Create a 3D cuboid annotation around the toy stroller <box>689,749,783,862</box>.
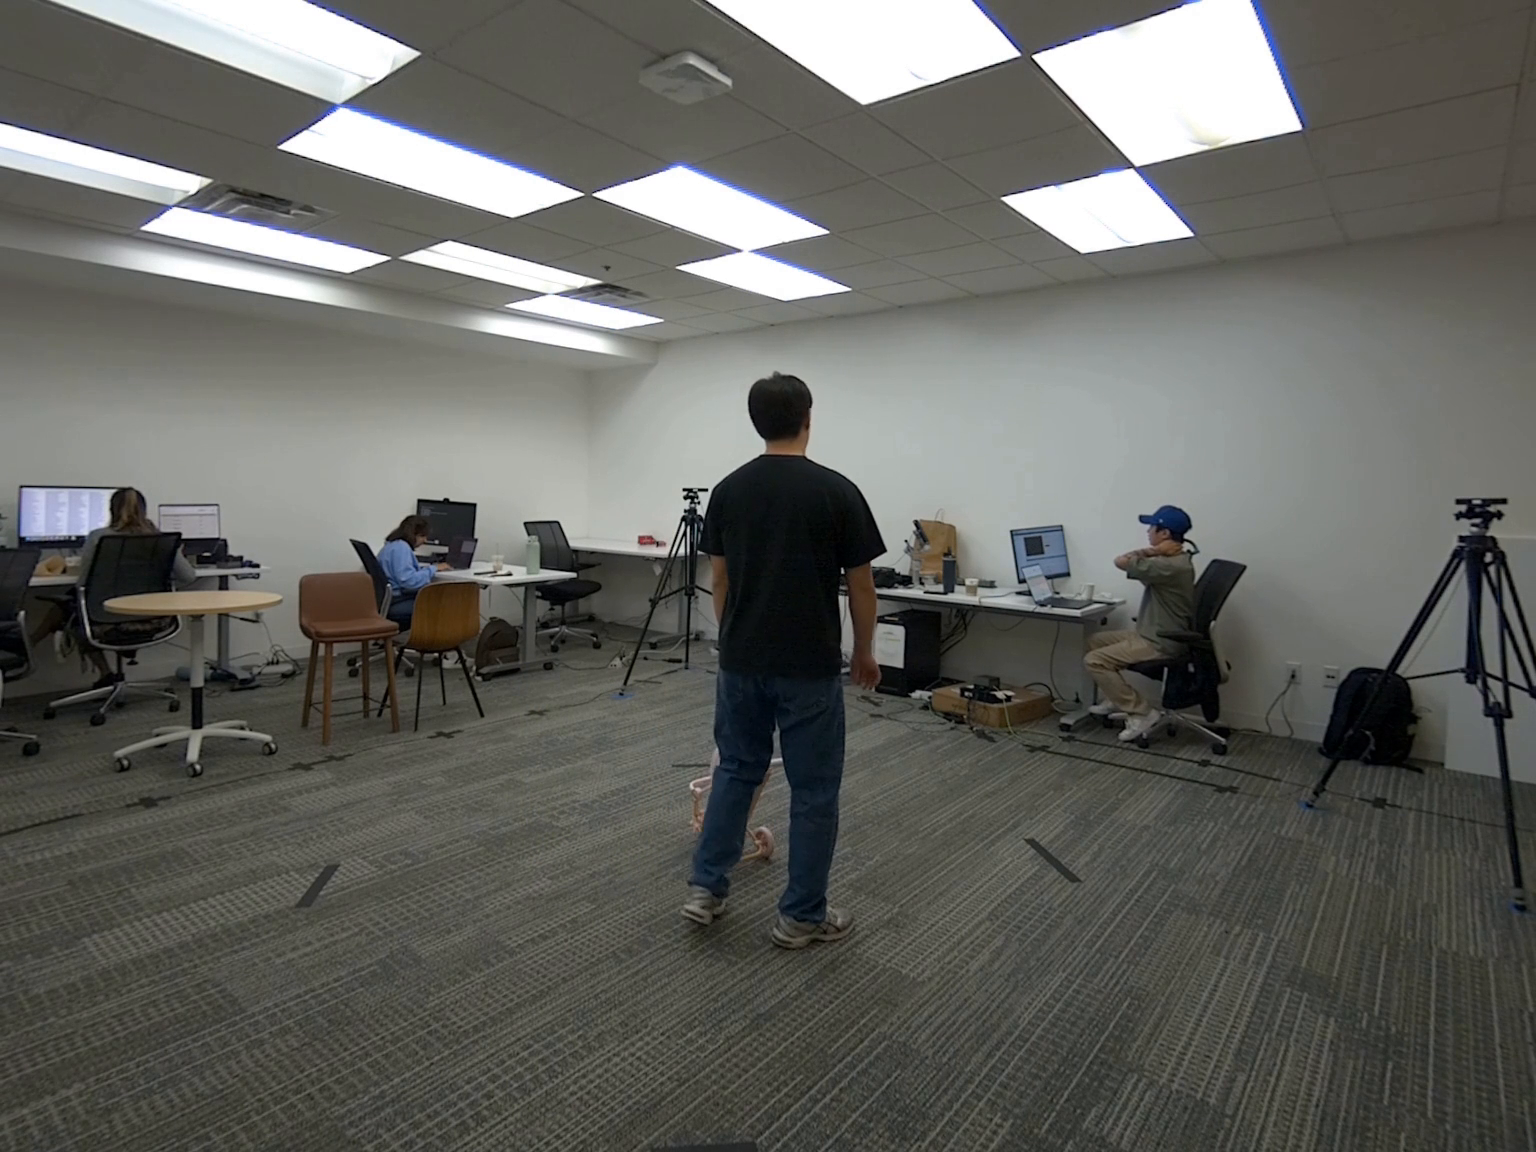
[{"bbox_3d":[-0.152,0.835,3.198,0.273,0.528,0.355,-1,20,-34],"label":"toy stroller"}]
